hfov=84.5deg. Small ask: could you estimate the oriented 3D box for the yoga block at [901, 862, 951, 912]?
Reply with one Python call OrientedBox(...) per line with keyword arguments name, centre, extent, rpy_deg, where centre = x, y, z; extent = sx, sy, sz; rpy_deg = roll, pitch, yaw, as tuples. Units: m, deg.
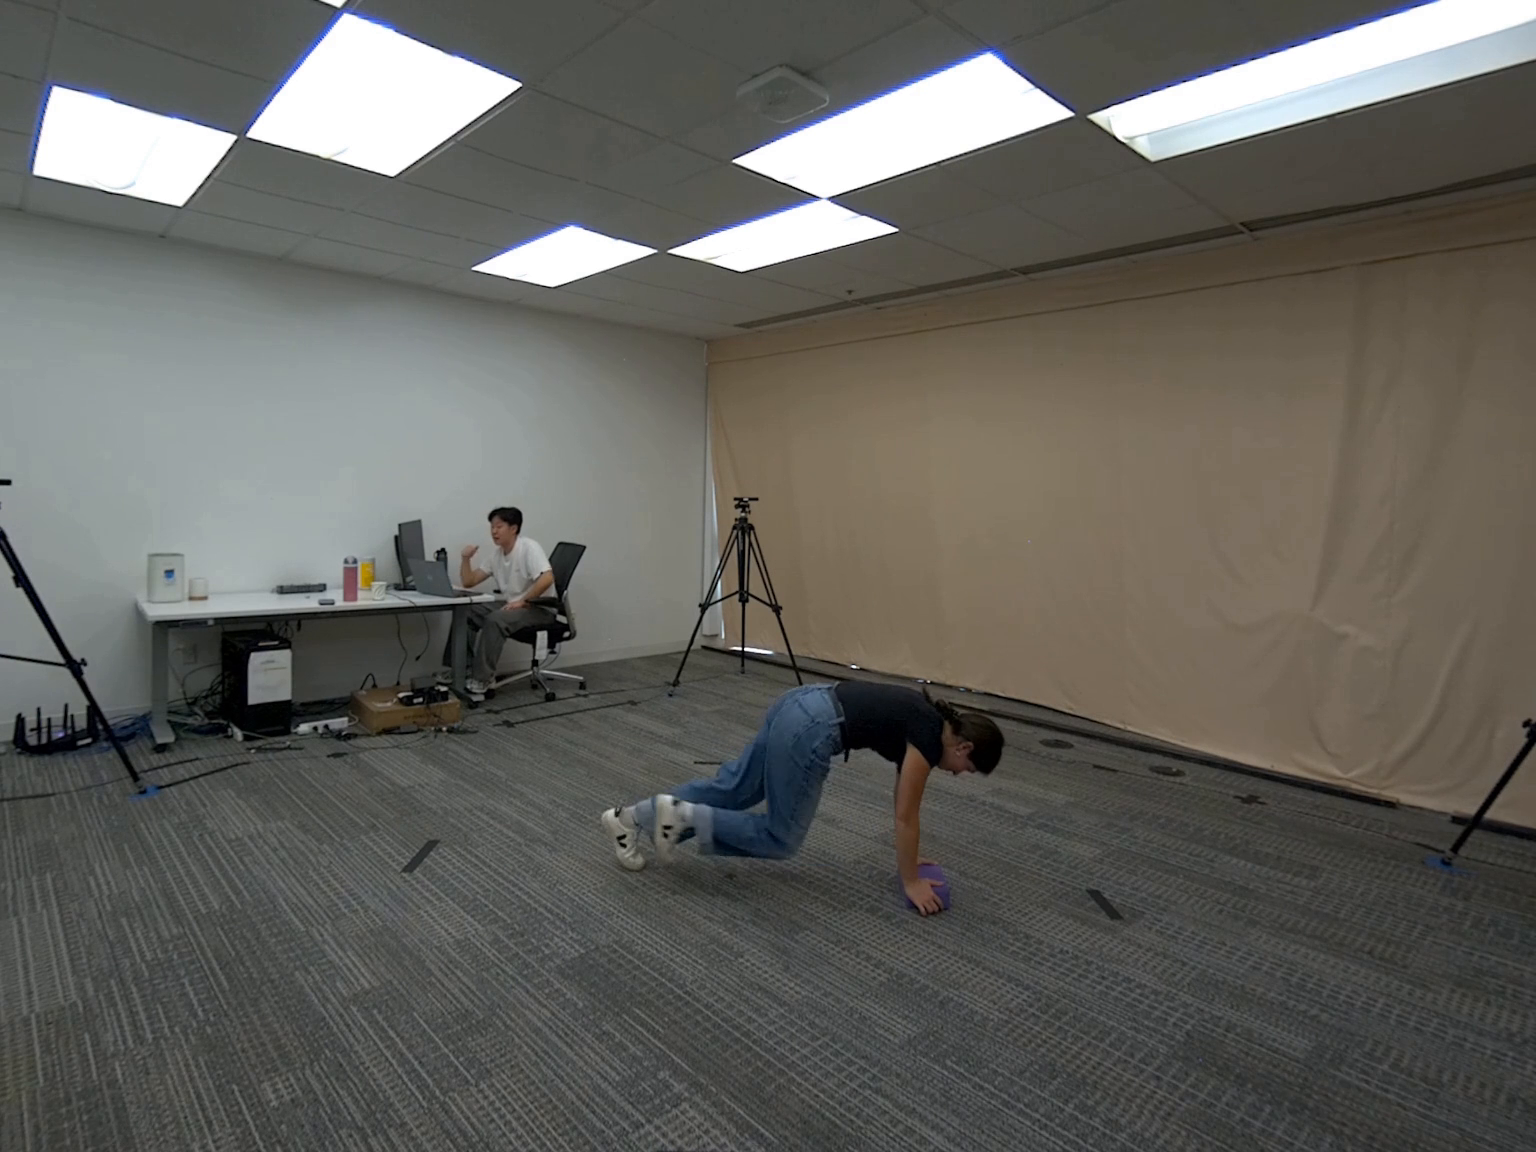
OrientedBox(name="yoga block", centre=(0.549, 1.102, 2.987), extent=(0.149, 0.076, 0.229), rpy_deg=(-1, 5, 3))
